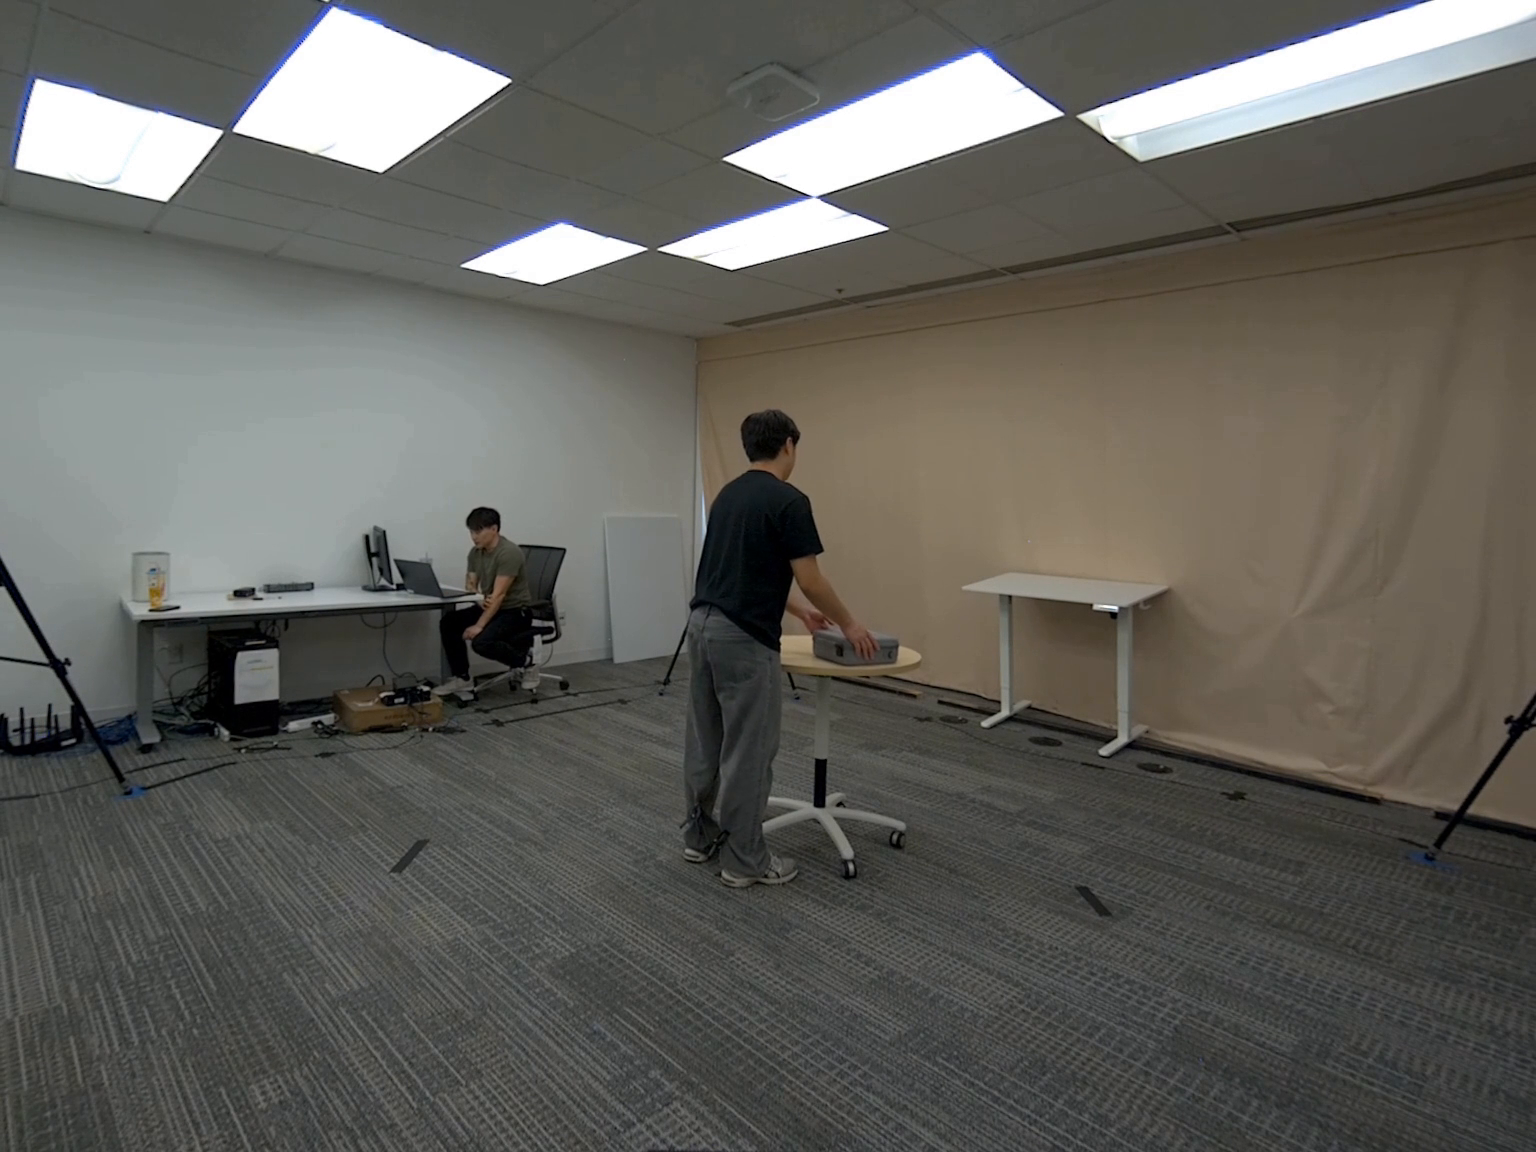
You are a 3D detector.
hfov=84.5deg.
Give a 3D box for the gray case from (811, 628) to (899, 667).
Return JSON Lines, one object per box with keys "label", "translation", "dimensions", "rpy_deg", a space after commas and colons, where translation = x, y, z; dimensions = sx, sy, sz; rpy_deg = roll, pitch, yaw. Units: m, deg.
{"label": "gray case", "translation": [0.341, 0.273, 3.245], "dimensions": [0.282, 0.103, 0.268], "rpy_deg": [1, 4, -25]}
